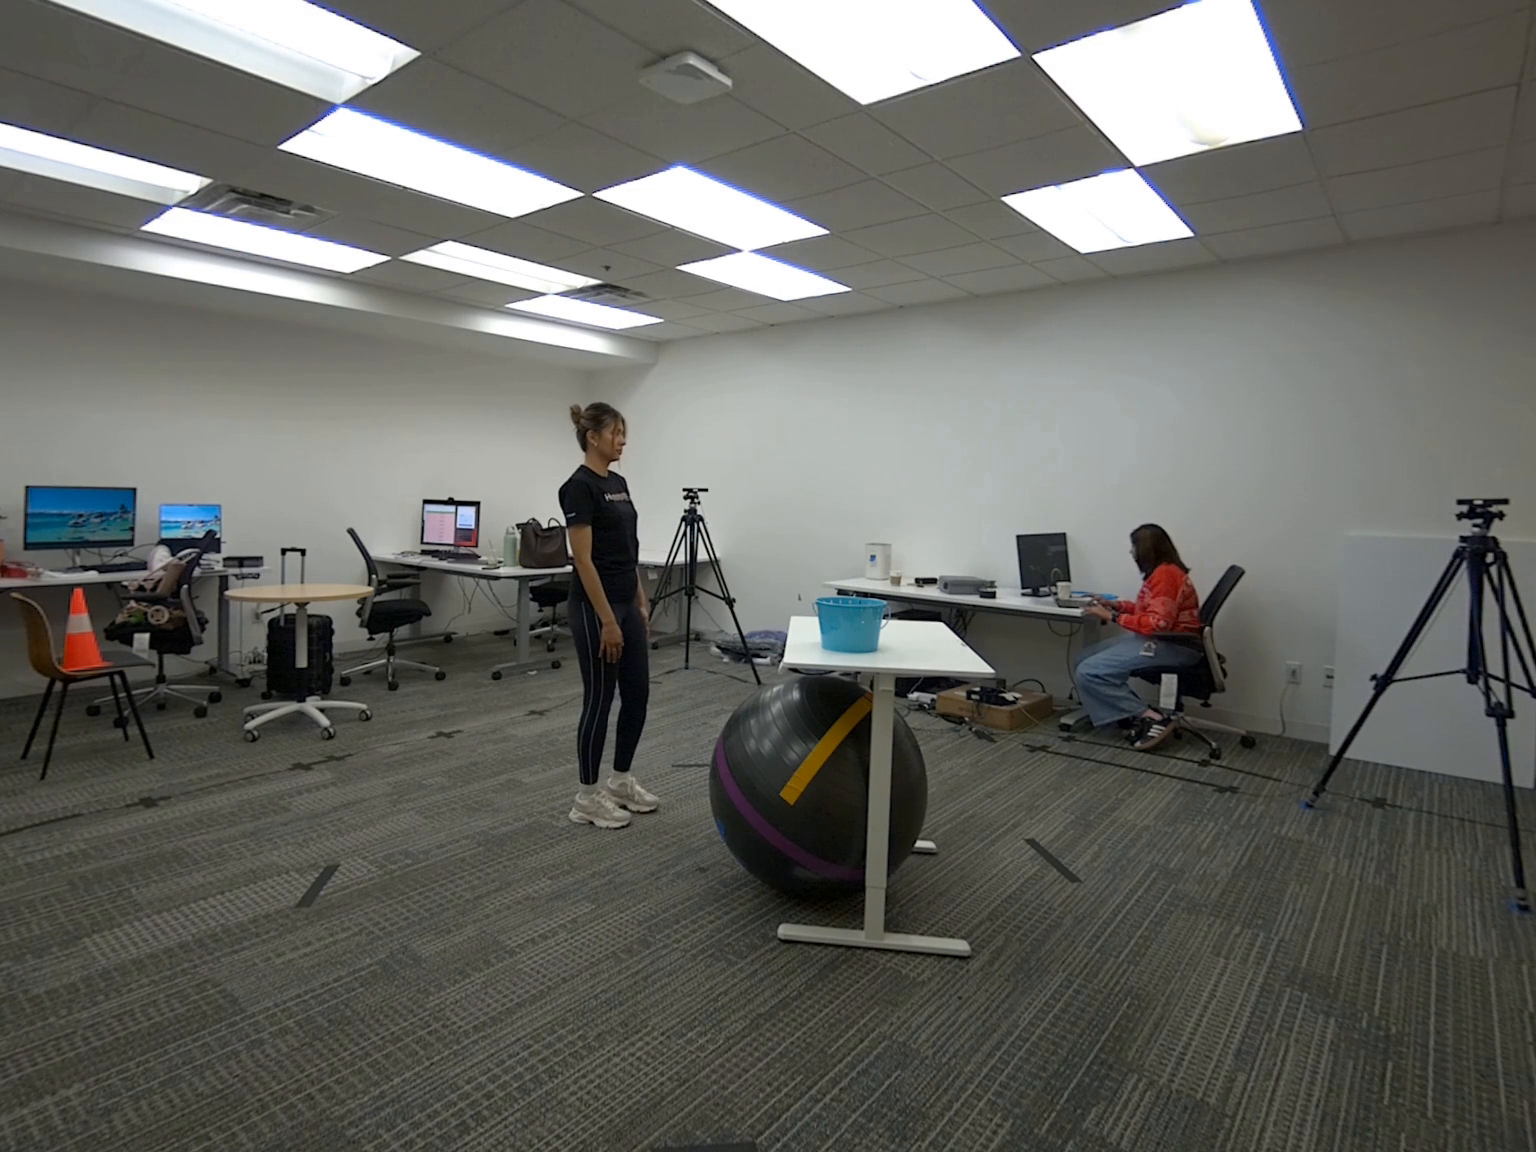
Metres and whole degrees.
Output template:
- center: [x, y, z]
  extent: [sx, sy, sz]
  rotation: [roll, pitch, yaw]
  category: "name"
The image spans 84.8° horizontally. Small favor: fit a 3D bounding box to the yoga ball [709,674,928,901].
- center: [0.172, 0.741, 2.972]
  extent: [0.757, 0.756, 0.762]
  rotation: [1, 4, -2]
  category: "yoga ball"
